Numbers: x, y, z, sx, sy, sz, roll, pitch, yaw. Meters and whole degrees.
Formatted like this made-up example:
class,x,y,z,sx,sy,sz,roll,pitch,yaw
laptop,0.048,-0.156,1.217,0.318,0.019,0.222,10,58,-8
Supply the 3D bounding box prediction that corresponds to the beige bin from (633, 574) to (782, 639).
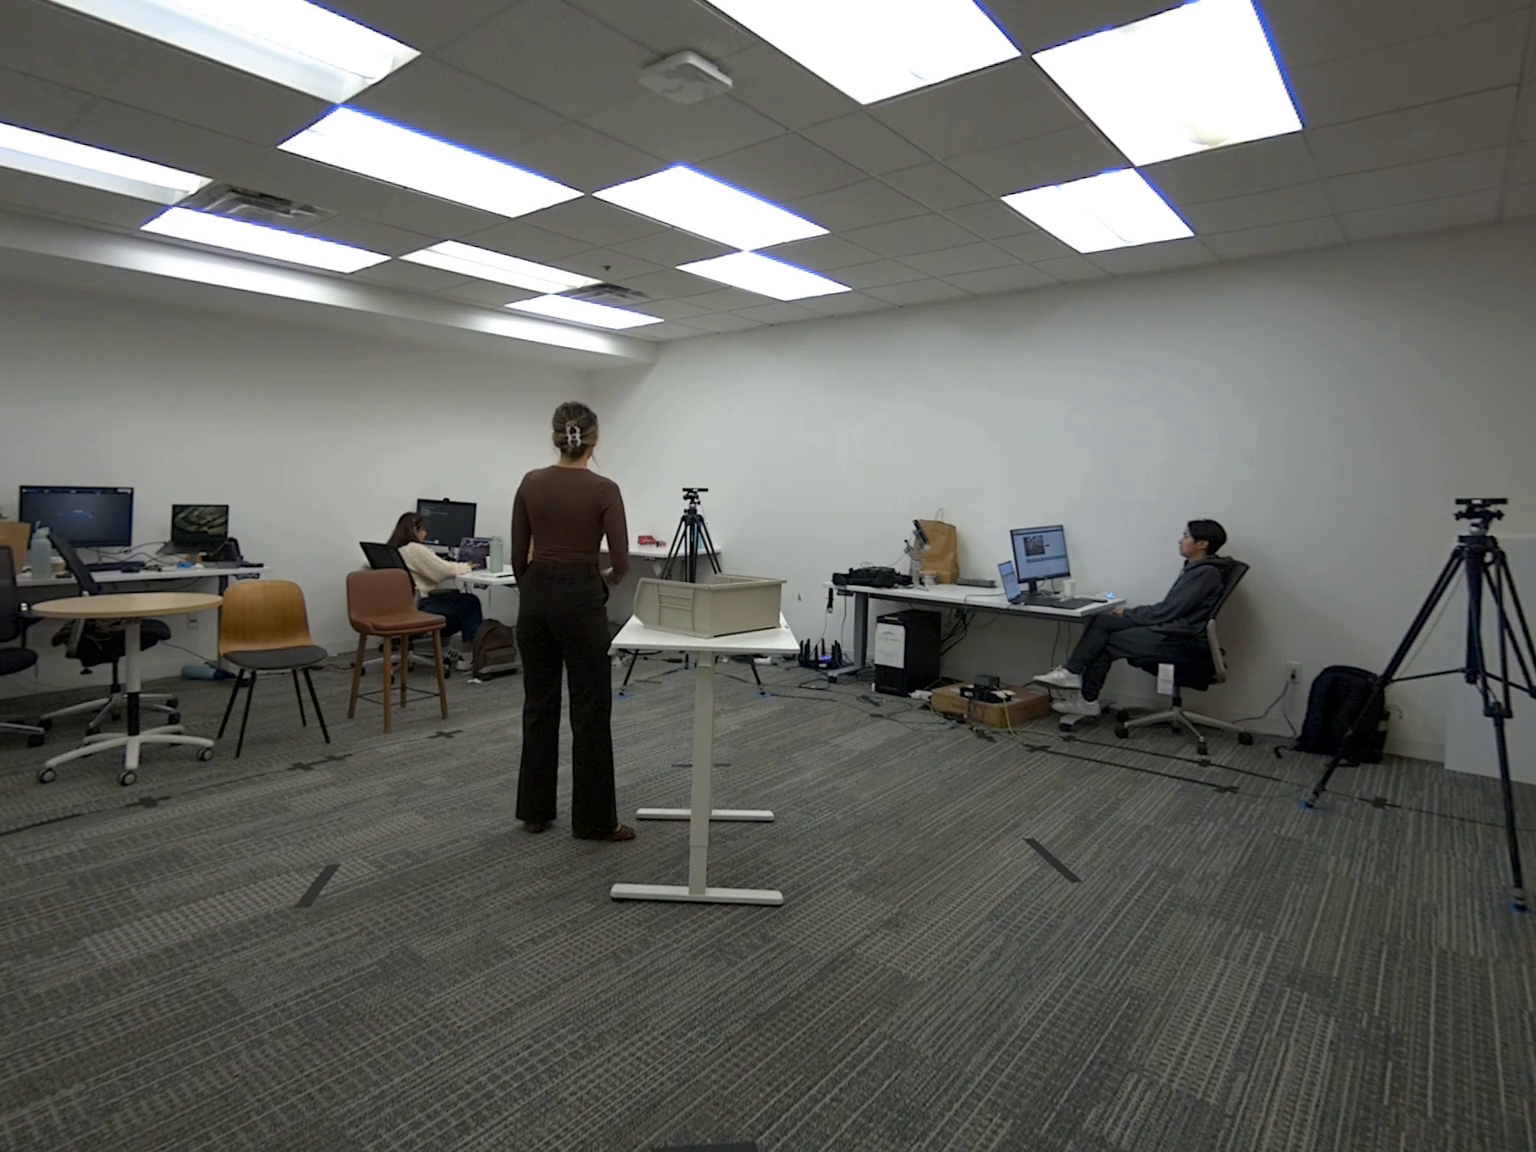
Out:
class,x,y,z,sx,sy,sz,roll,pitch,yaw
beige bin,-0.222,0.098,3.104,0.390,0.188,0.409,7,6,39
